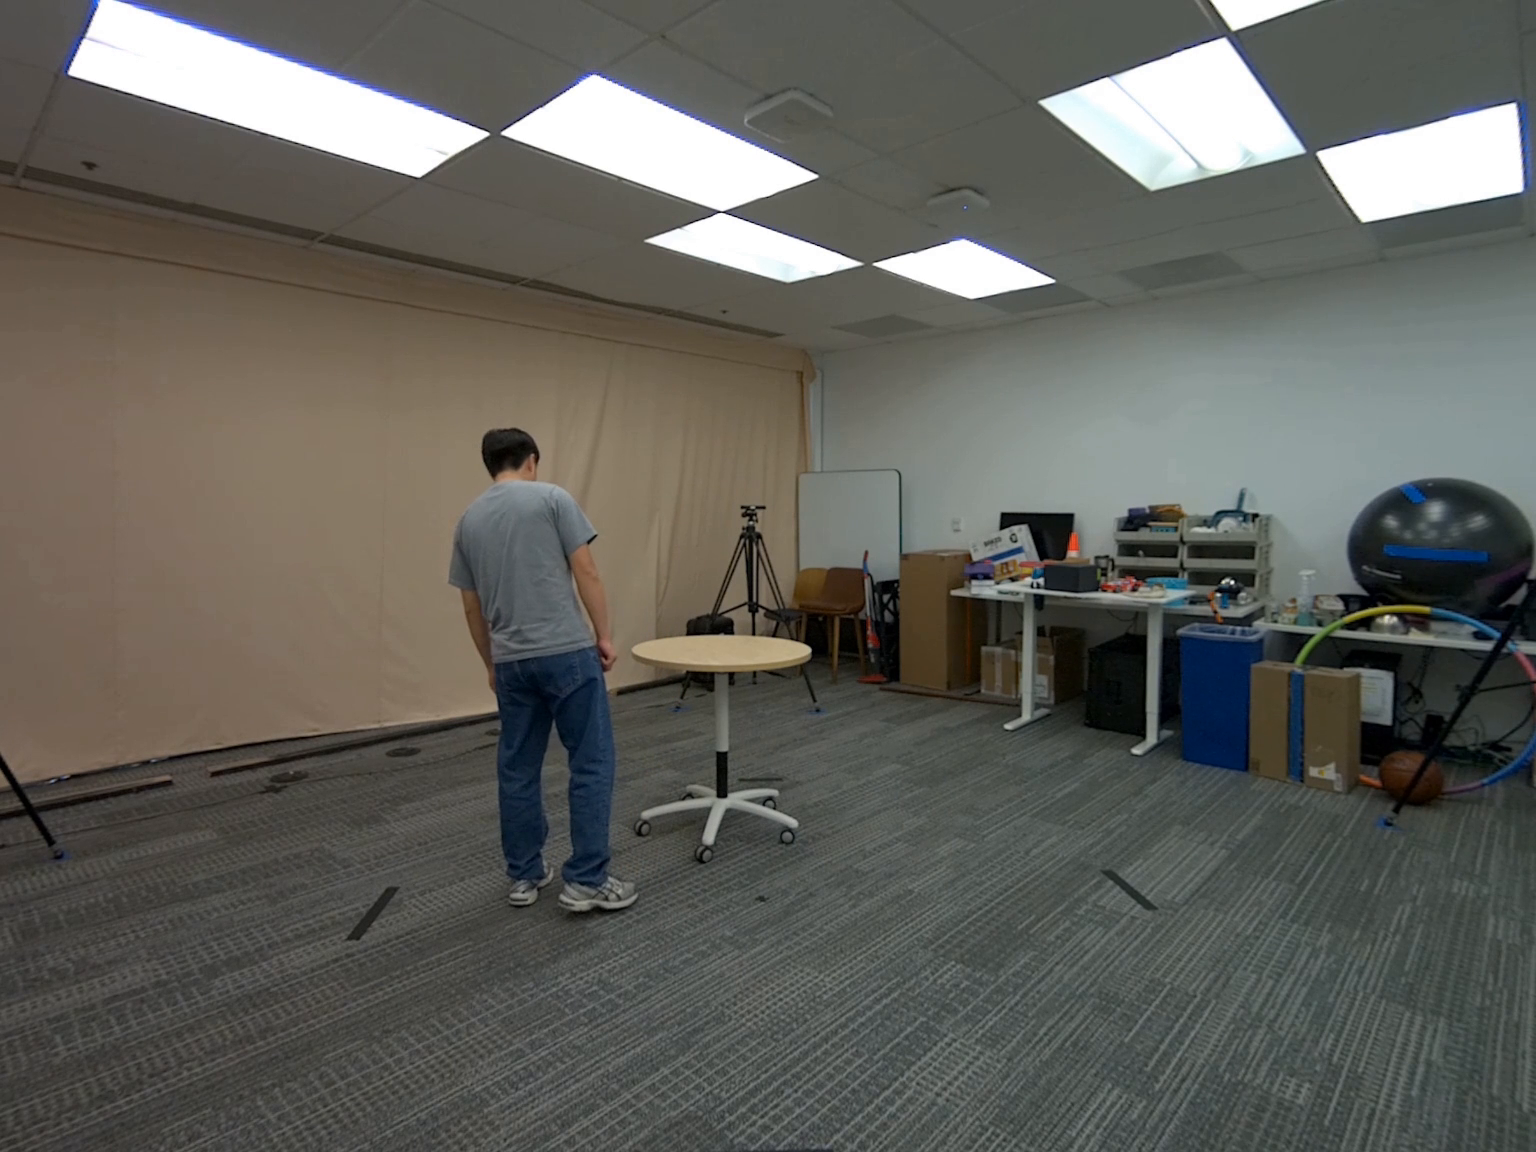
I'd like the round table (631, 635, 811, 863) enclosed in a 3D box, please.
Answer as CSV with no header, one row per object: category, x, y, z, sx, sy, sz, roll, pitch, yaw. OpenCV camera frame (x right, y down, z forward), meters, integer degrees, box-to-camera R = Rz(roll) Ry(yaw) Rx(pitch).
round table,-0.194,0.704,3.612,0.763,0.792,0.766,0,3,-2
